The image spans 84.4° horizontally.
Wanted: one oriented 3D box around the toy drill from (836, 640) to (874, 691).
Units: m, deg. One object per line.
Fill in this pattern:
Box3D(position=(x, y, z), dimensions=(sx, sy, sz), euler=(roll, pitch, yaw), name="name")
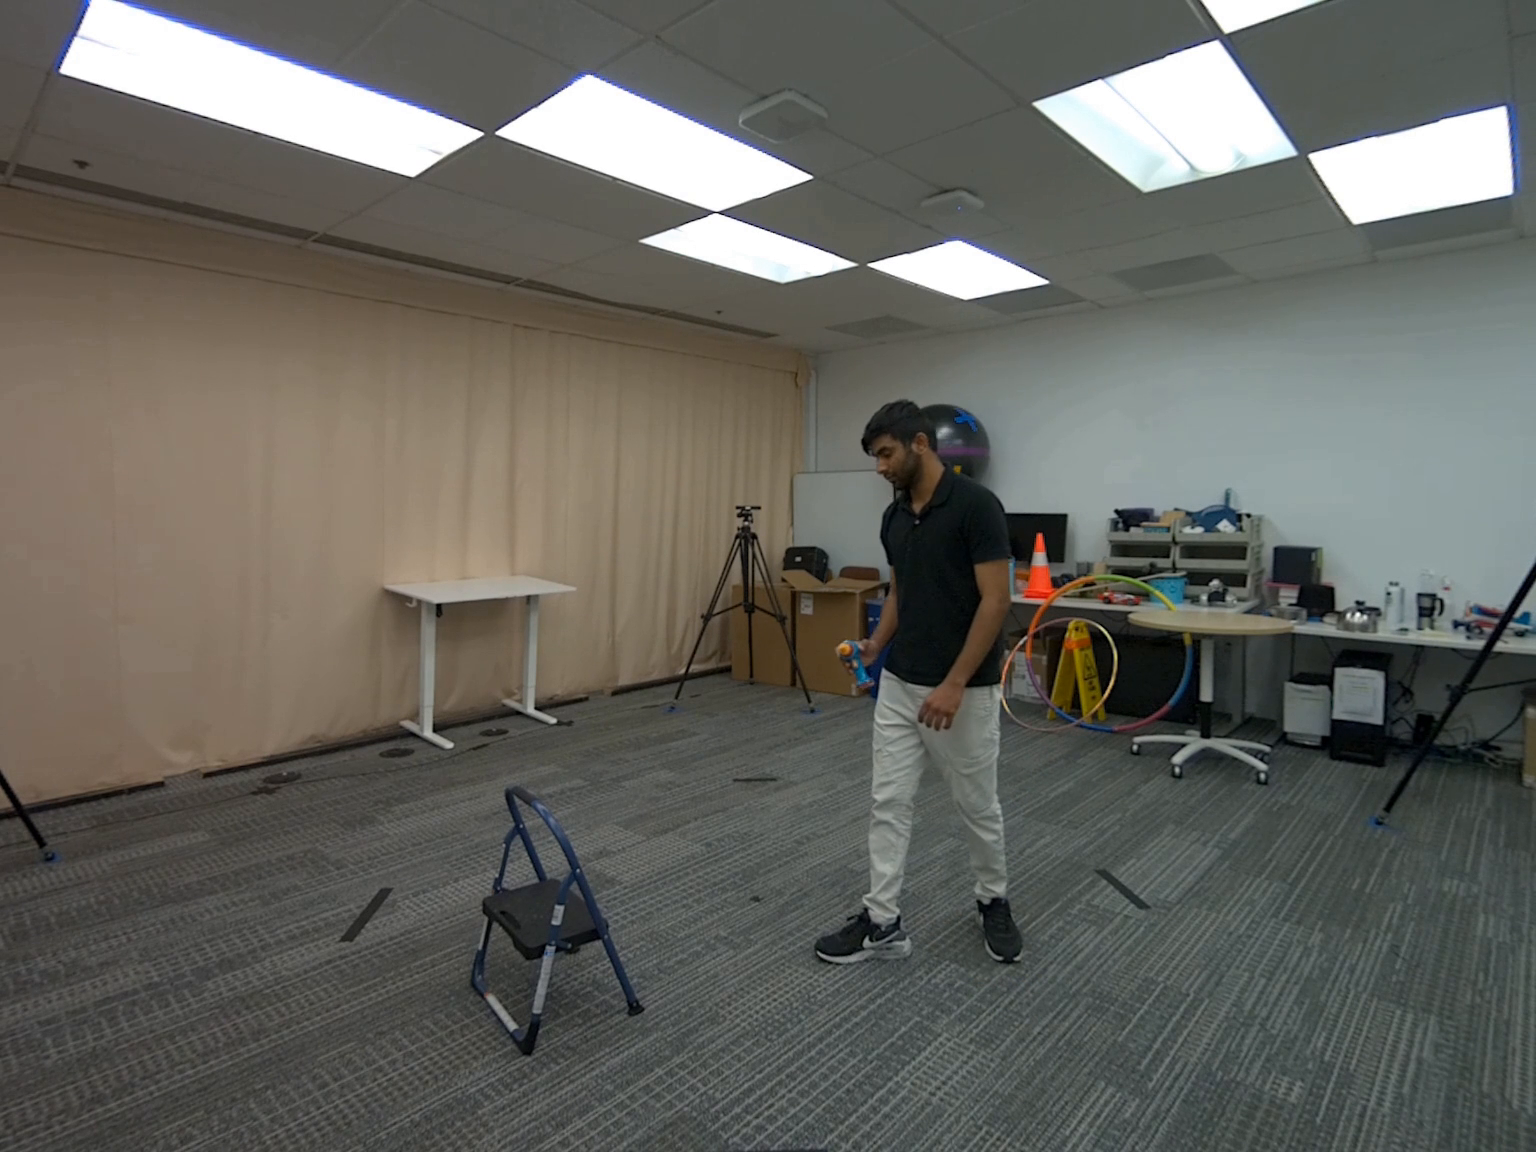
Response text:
Box3D(position=(0.280, 0.256, 2.517), dimensions=(0.062, 0.149, 0.165), euler=(-23, -21, 12), name="toy drill")
